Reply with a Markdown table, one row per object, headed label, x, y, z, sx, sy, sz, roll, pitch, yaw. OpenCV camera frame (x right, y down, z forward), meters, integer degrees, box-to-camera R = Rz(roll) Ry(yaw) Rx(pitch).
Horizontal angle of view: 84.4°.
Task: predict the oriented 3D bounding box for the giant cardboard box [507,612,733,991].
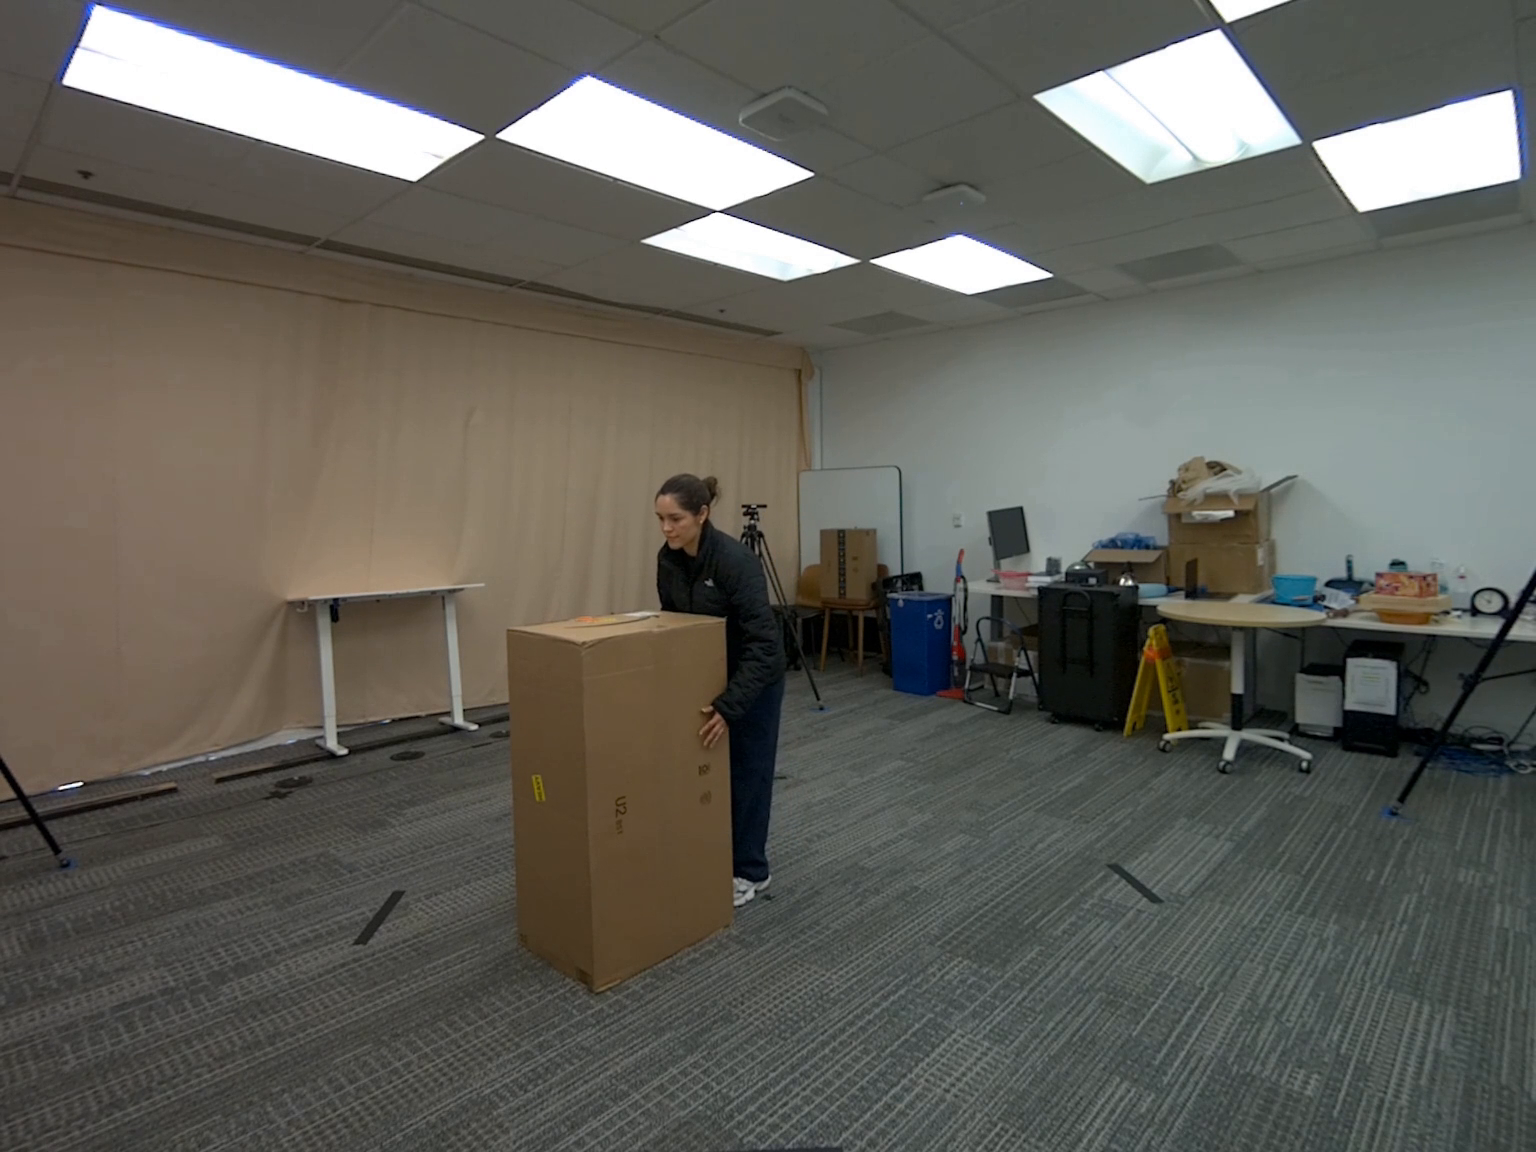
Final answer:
| label | x | y | z | sx | sy | sz | roll | pitch | yaw |
| --- | --- | --- | --- | --- | --- | --- | --- | --- | --- |
| giant cardboard box | -0.465 | 0.663 | 2.722 | 0.440 | 1.023 | 0.560 | 2 | 5 | 44 |
